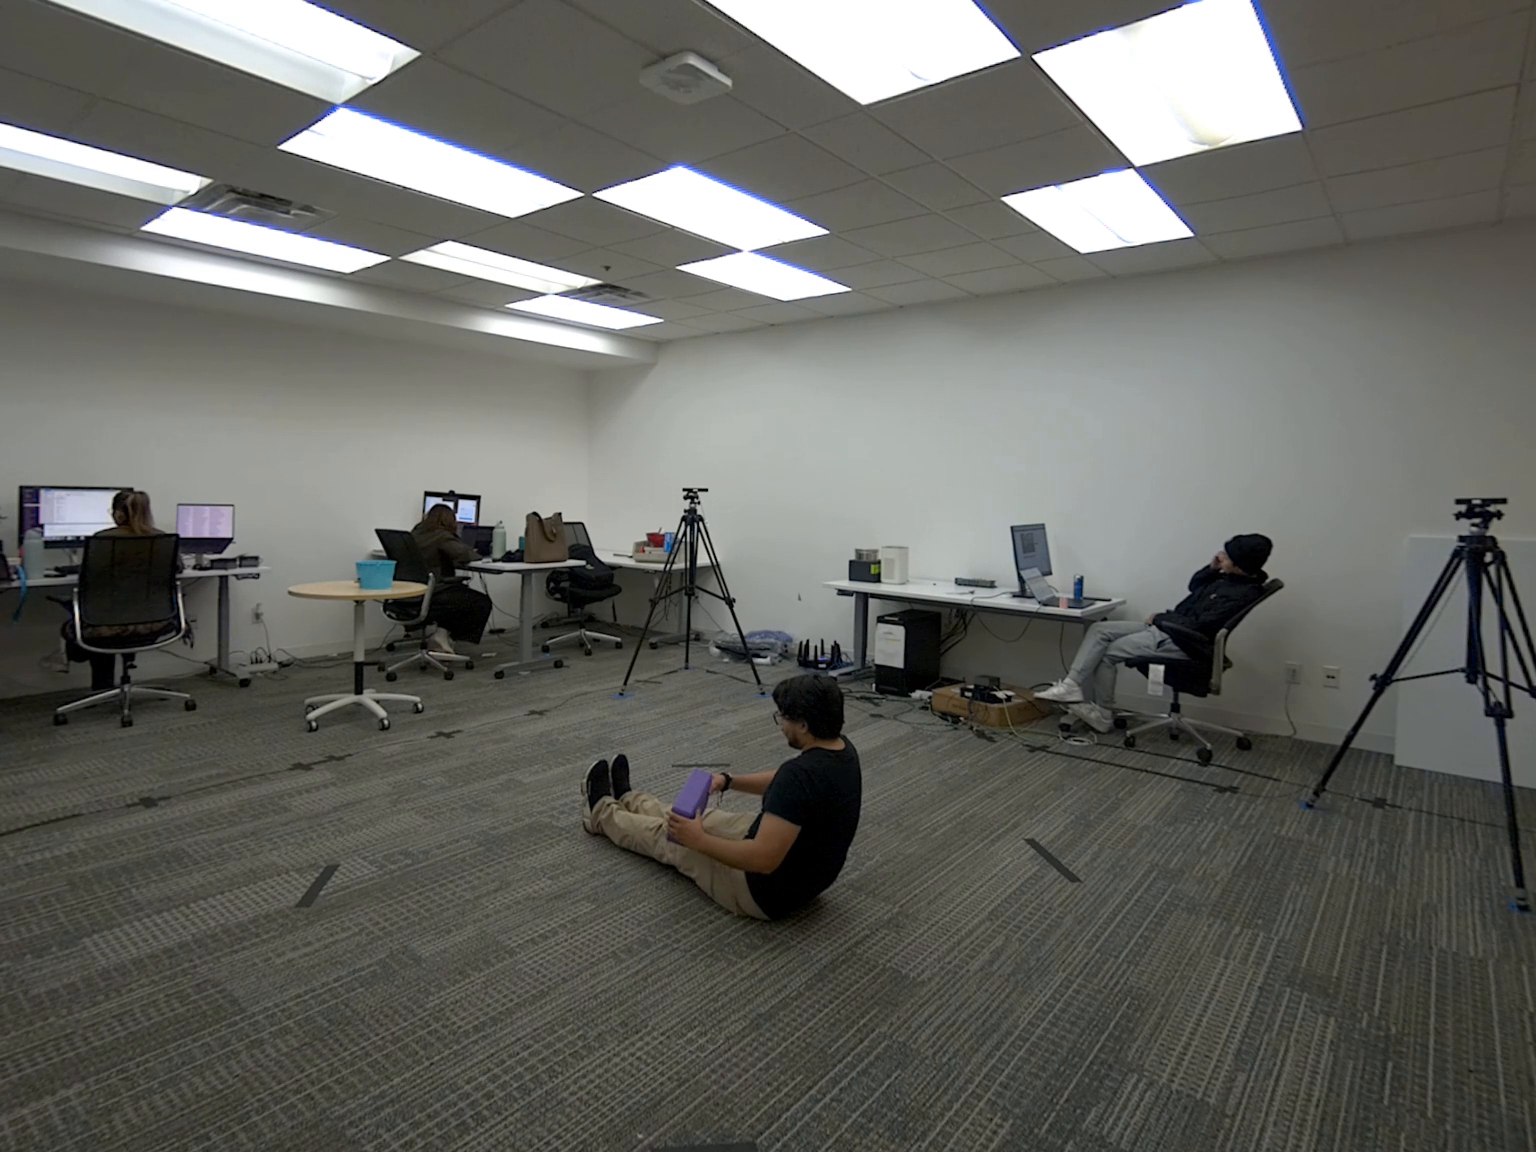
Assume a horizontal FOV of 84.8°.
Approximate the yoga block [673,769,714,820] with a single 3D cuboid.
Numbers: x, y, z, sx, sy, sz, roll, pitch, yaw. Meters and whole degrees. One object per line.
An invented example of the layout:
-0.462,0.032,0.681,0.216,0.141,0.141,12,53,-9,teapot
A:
-0.269,0.787,2.878,0.078,0.146,0.229,13,25,14,yoga block
